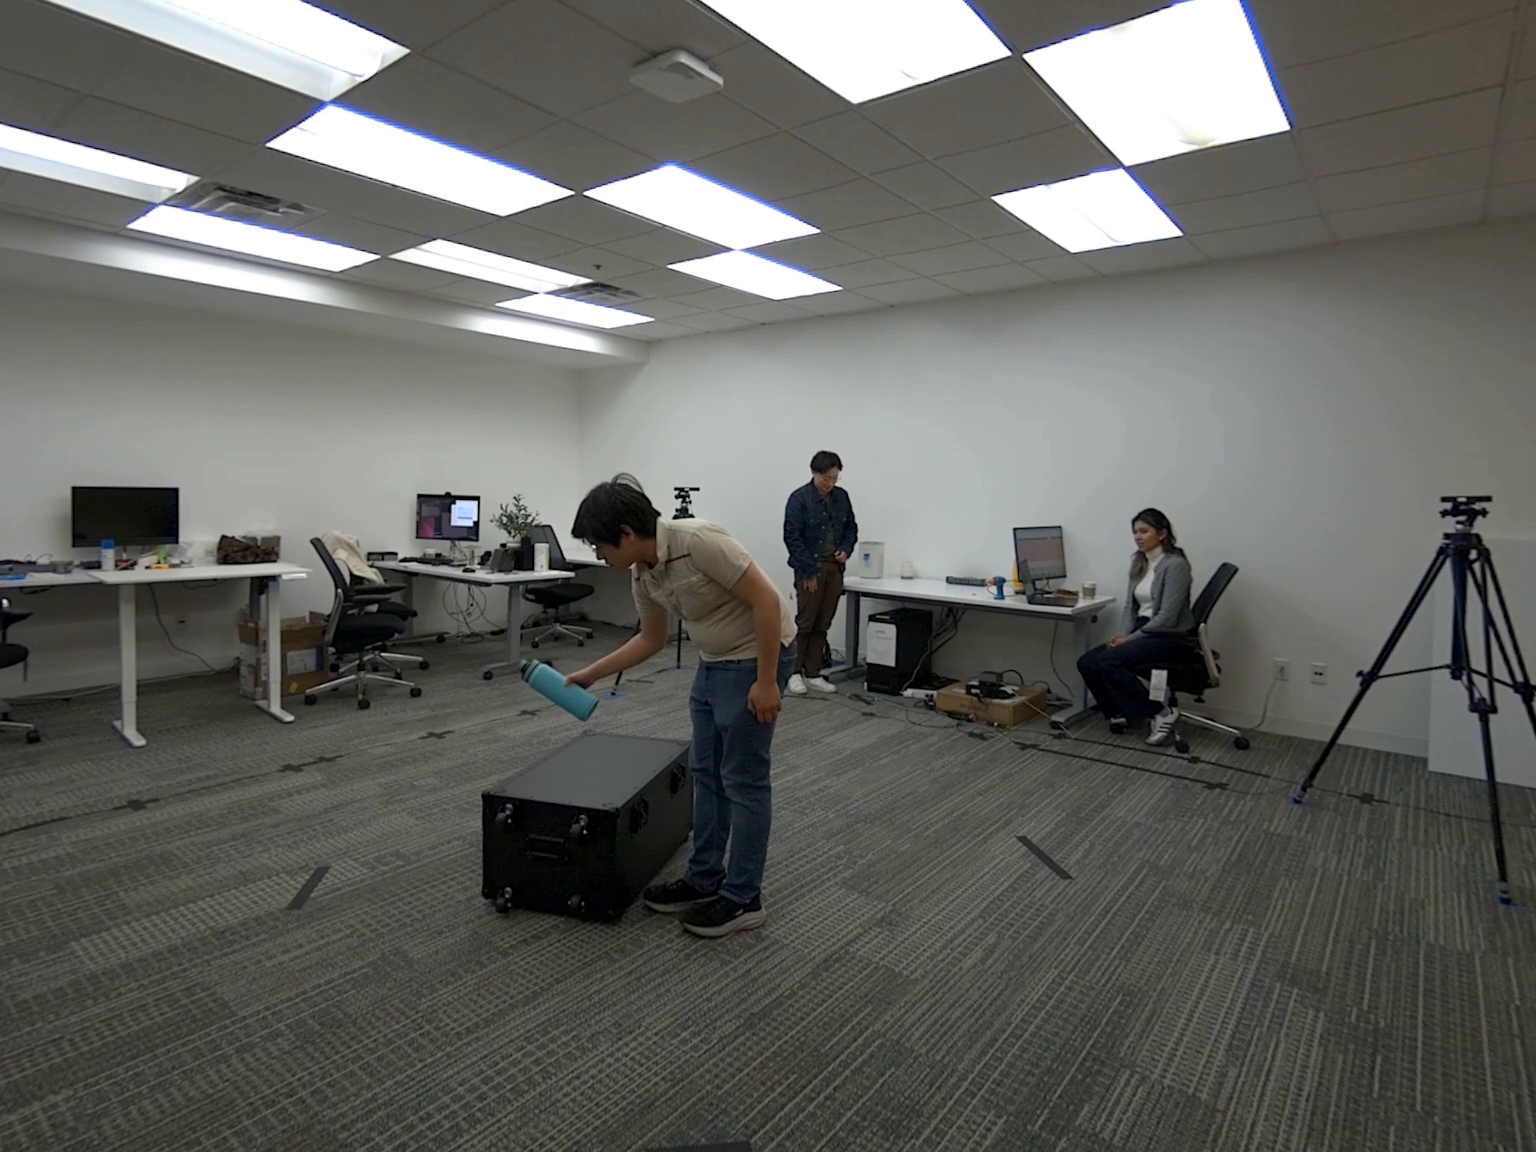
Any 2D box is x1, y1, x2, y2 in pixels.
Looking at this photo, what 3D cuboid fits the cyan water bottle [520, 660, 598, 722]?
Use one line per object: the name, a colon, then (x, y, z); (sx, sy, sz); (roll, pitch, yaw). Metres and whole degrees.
cyan water bottle: (-0.710, 0.366, 2.806); (0.286, 0.092, 0.091); (31, 7, 7)
